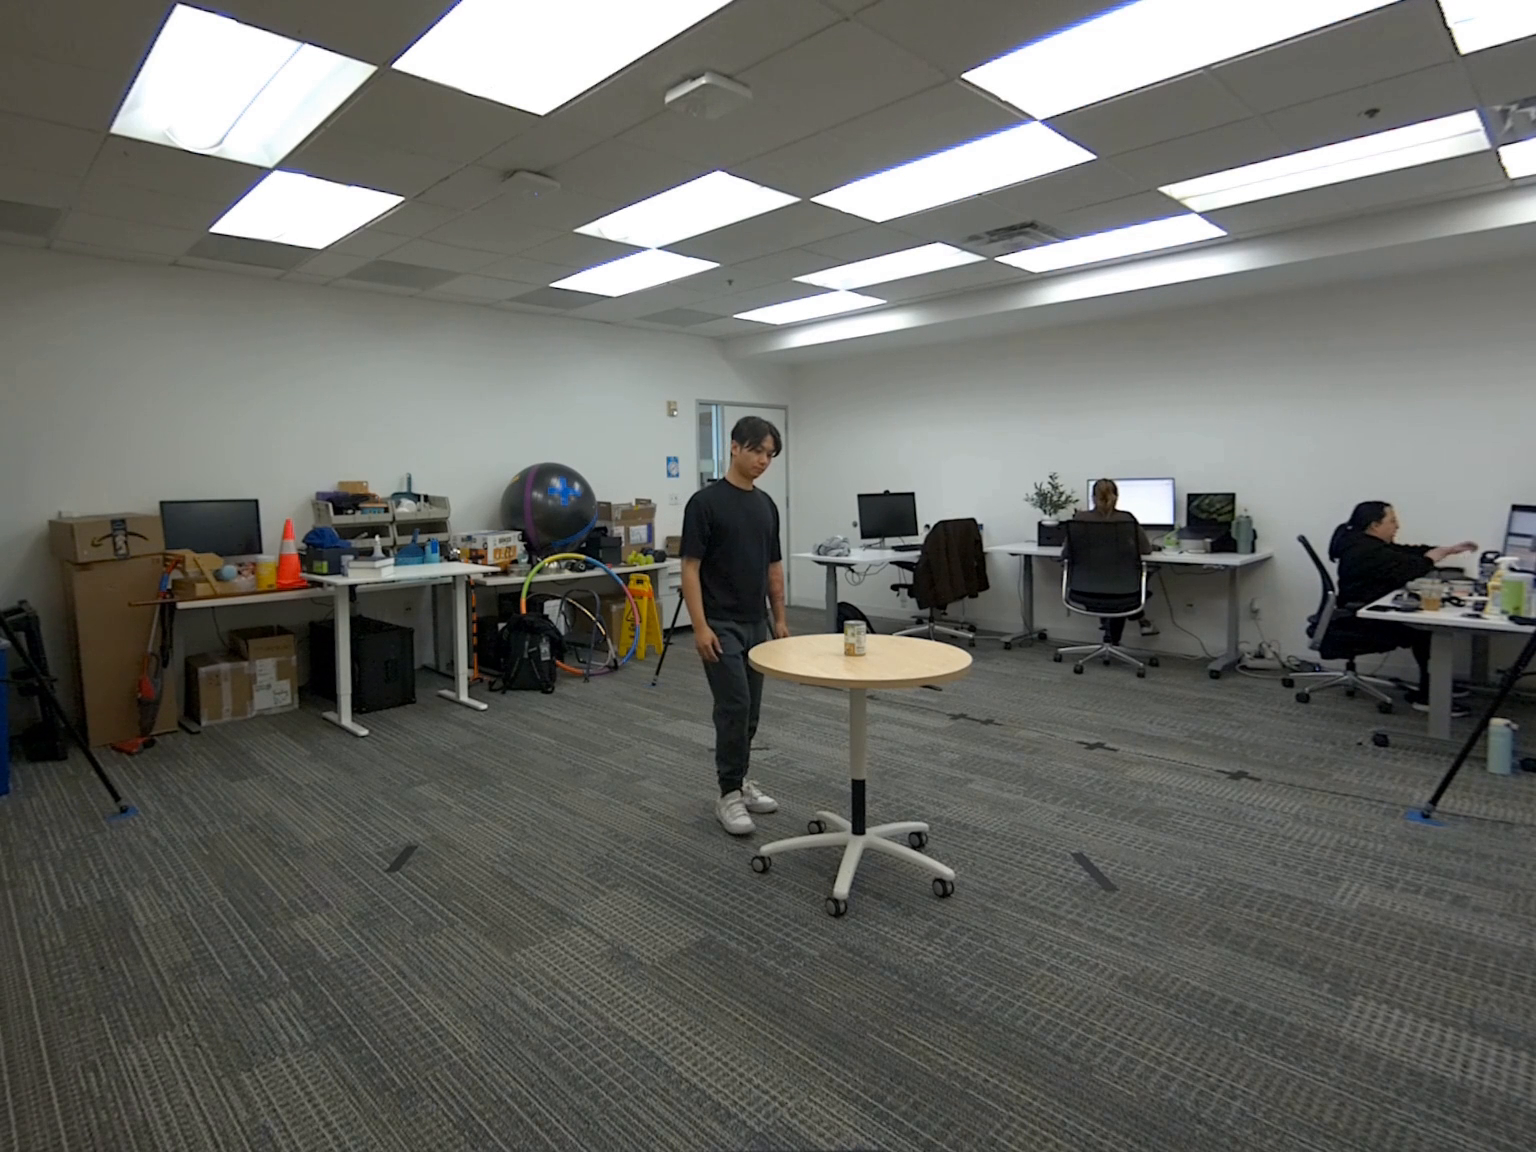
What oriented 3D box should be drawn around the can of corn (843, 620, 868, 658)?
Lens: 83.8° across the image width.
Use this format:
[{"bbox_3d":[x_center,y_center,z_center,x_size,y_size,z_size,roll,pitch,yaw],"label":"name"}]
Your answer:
[{"bbox_3d":[0.309,0.219,2.971,0.074,0.110,0.075,-1,8,-2],"label":"can of corn"}]
